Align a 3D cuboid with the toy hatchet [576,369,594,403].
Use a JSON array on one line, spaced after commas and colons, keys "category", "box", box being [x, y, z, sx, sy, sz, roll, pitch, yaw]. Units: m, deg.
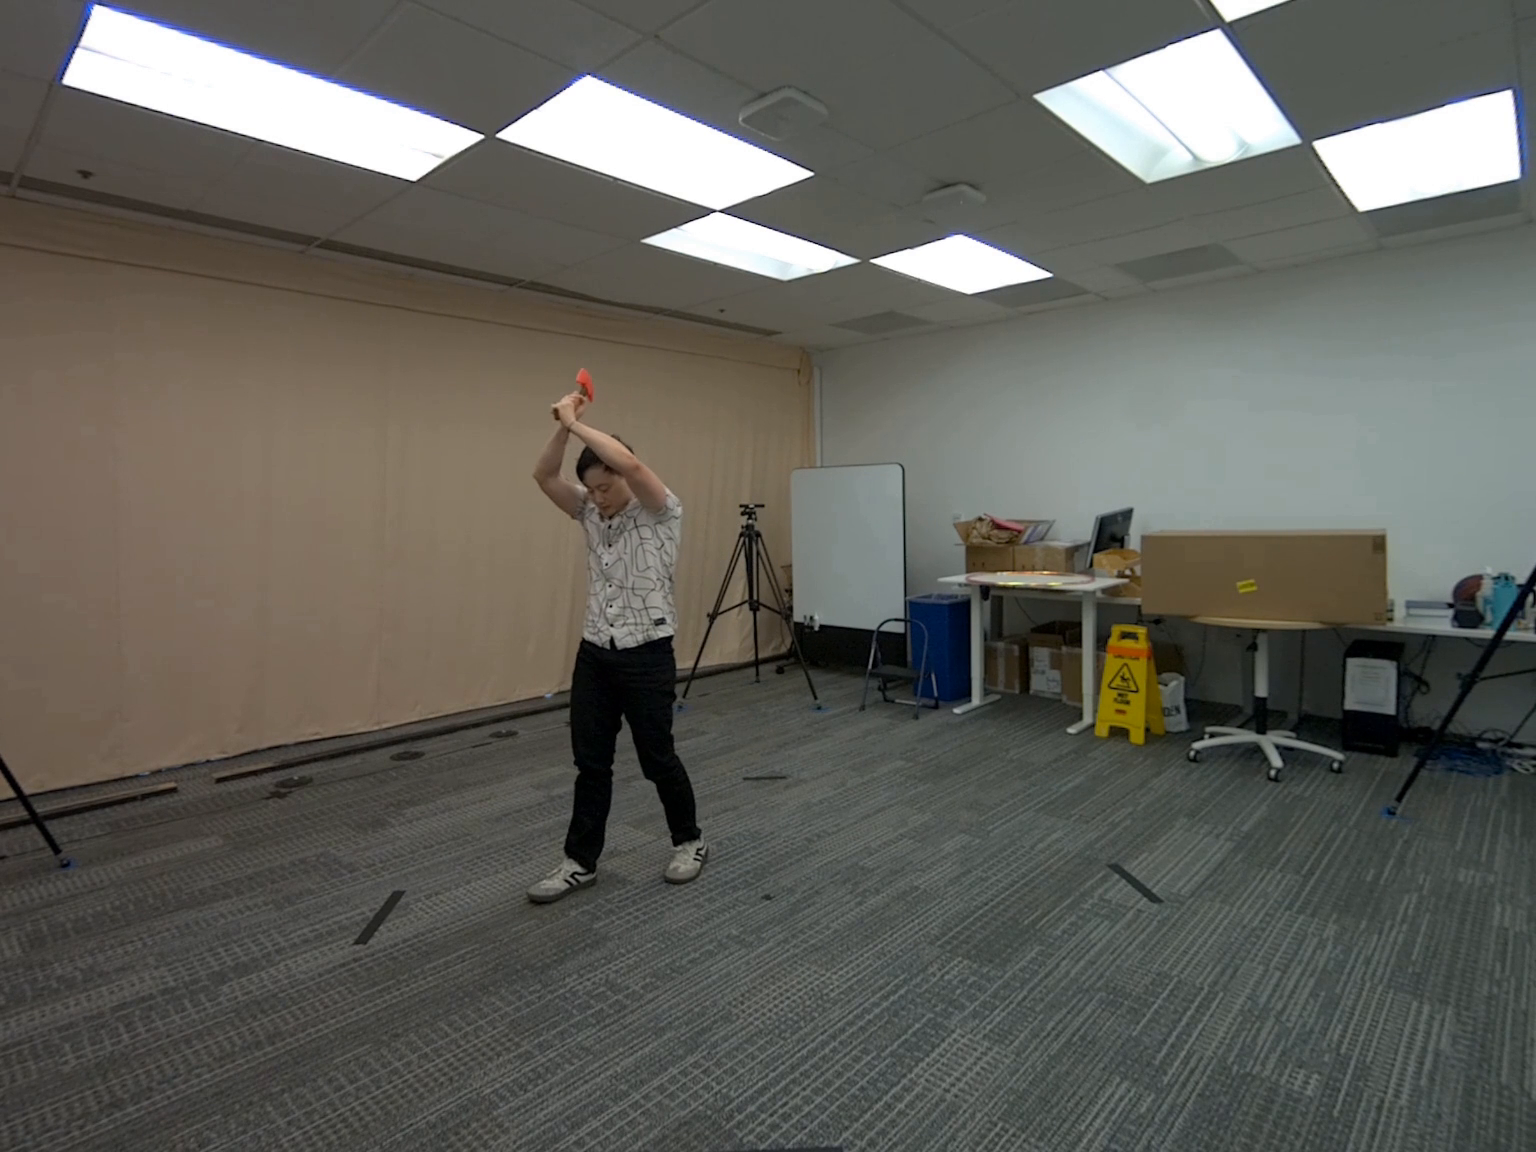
[{"category": "toy hatchet", "box": [-0.672, -0.638, 2.865, 0.030, 0.129, 0.269, 6, 24, 12]}]
